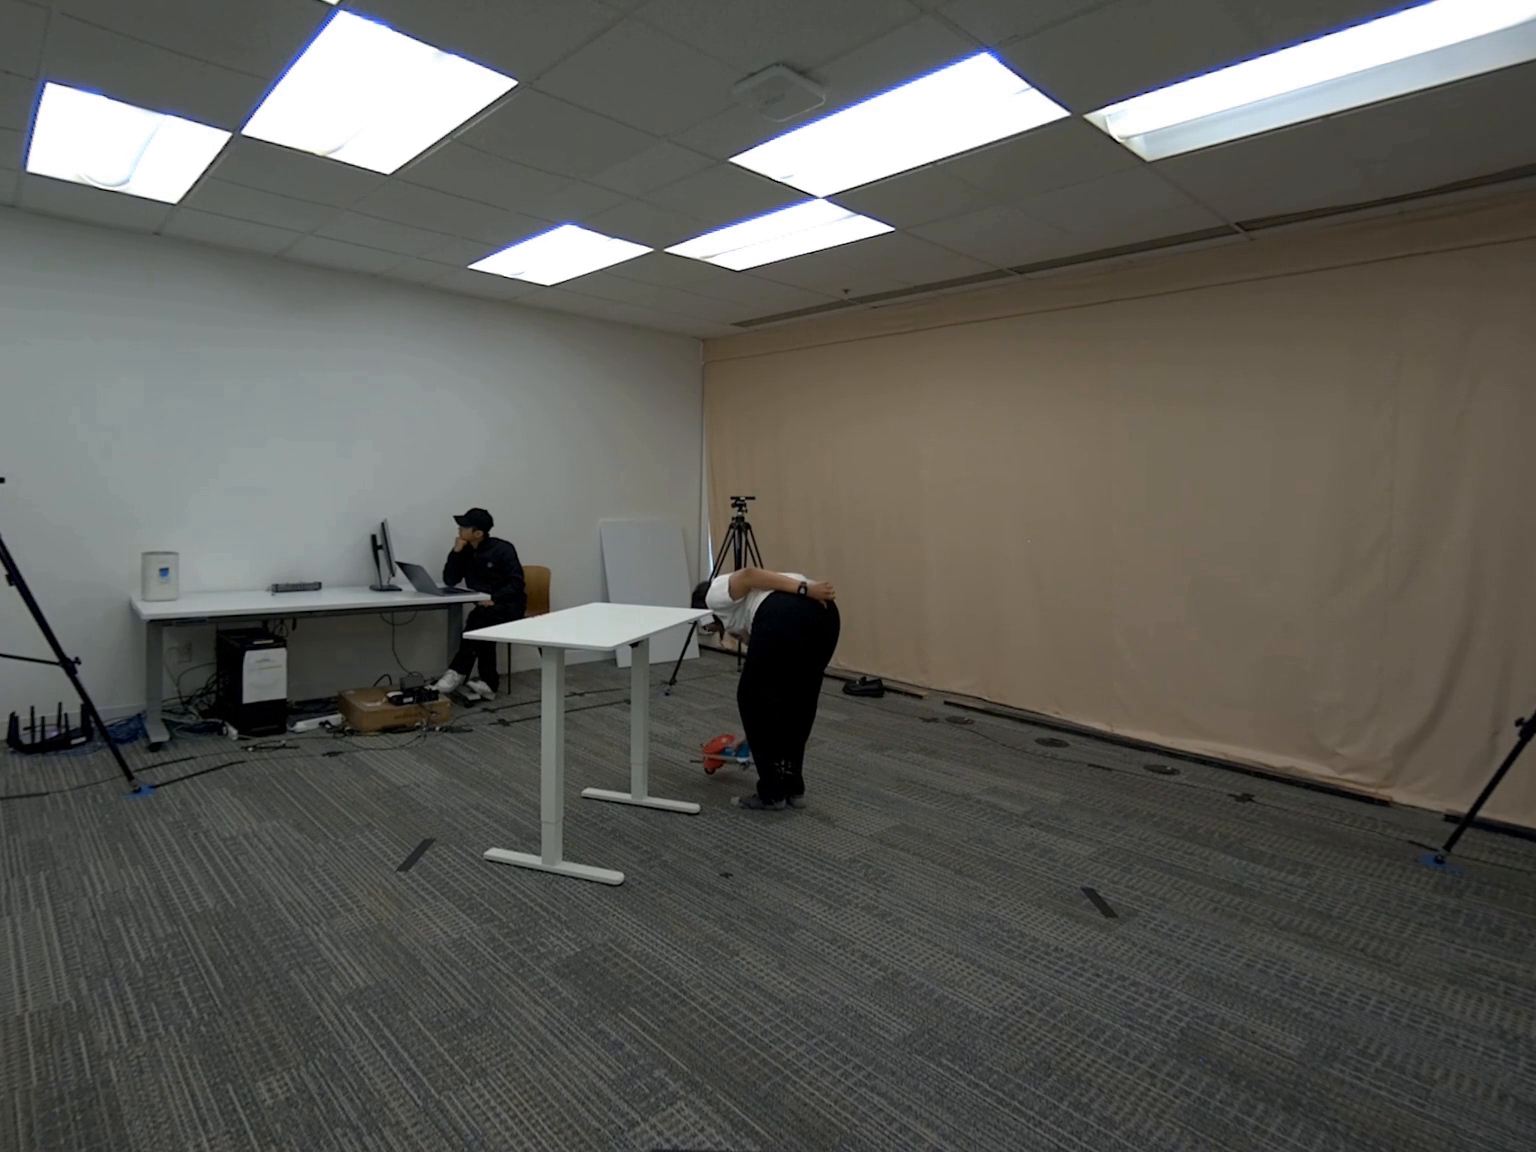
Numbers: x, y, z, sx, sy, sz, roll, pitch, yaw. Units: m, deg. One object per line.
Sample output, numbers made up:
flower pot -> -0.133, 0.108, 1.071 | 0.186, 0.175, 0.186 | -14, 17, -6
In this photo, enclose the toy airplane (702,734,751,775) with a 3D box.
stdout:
toy airplane -> -0.215, 0.886, 4.207 | 0.259, 0.156, 0.251 | -13, 3, 0
